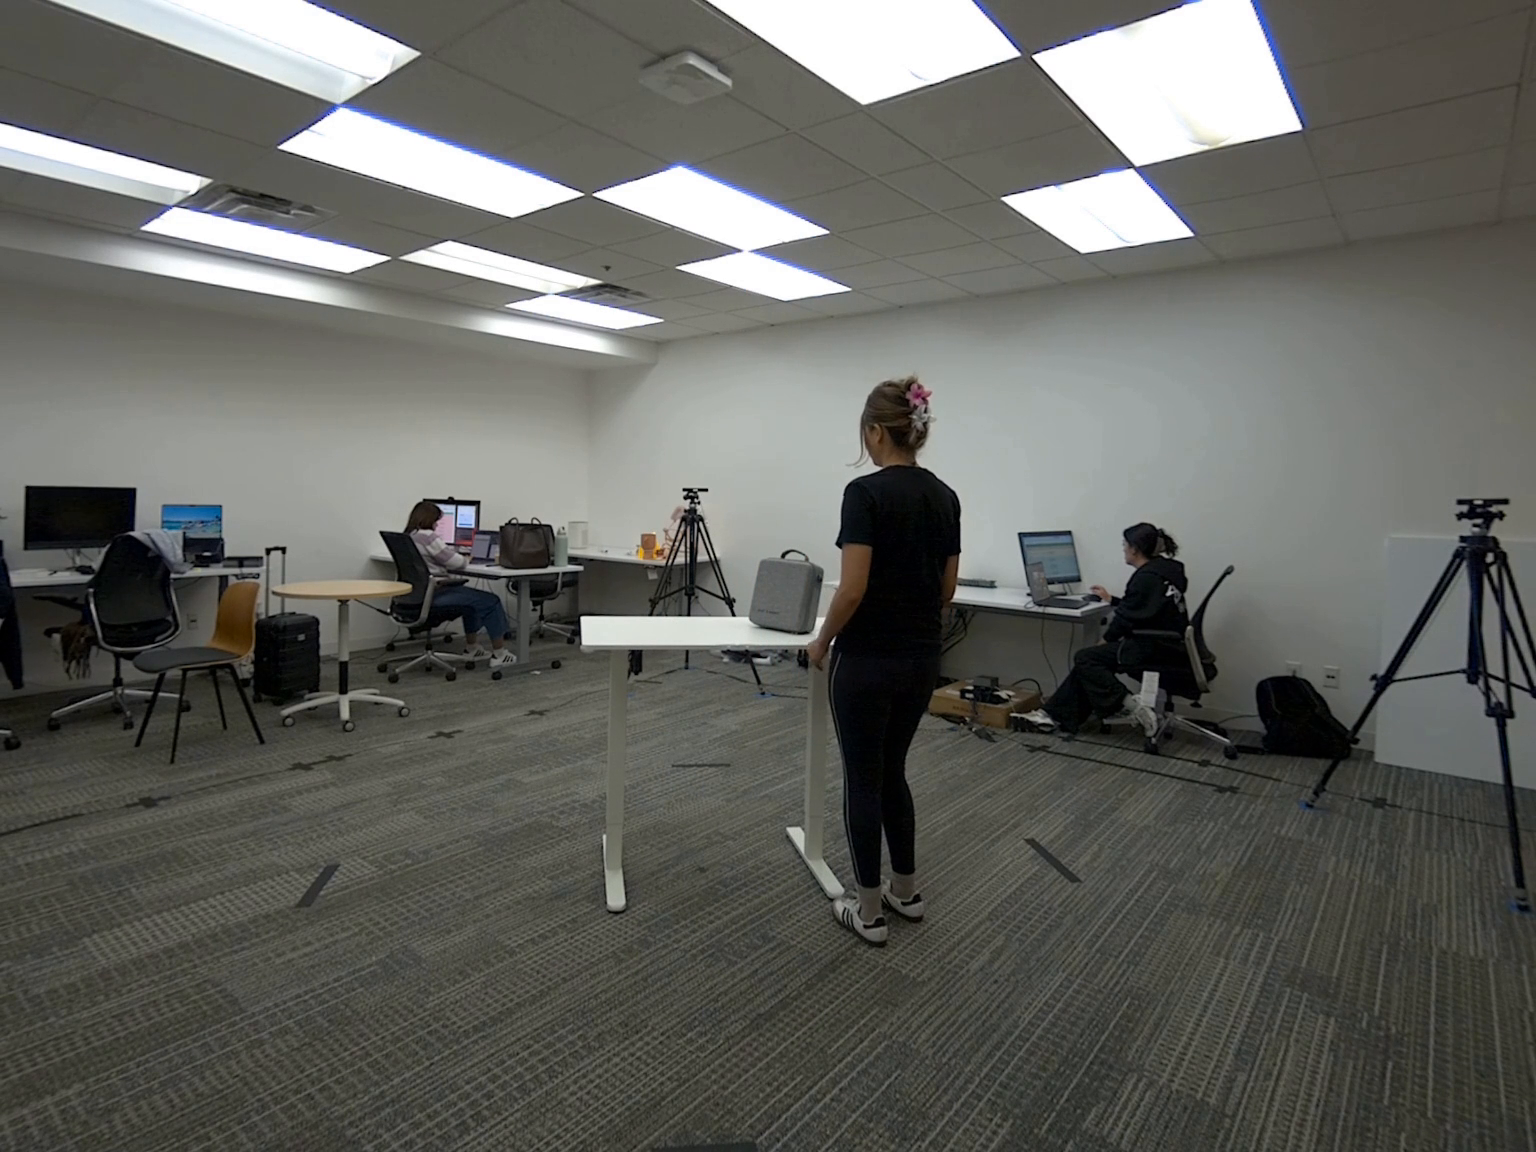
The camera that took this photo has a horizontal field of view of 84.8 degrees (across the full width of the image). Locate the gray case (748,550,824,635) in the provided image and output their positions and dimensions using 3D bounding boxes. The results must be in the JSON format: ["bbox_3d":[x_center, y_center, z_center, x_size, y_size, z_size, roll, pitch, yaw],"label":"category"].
[{"bbox_3d":[0.056,0.063,3.115,0.266,0.261,0.100,6,-6,43],"label":"gray case"}]
